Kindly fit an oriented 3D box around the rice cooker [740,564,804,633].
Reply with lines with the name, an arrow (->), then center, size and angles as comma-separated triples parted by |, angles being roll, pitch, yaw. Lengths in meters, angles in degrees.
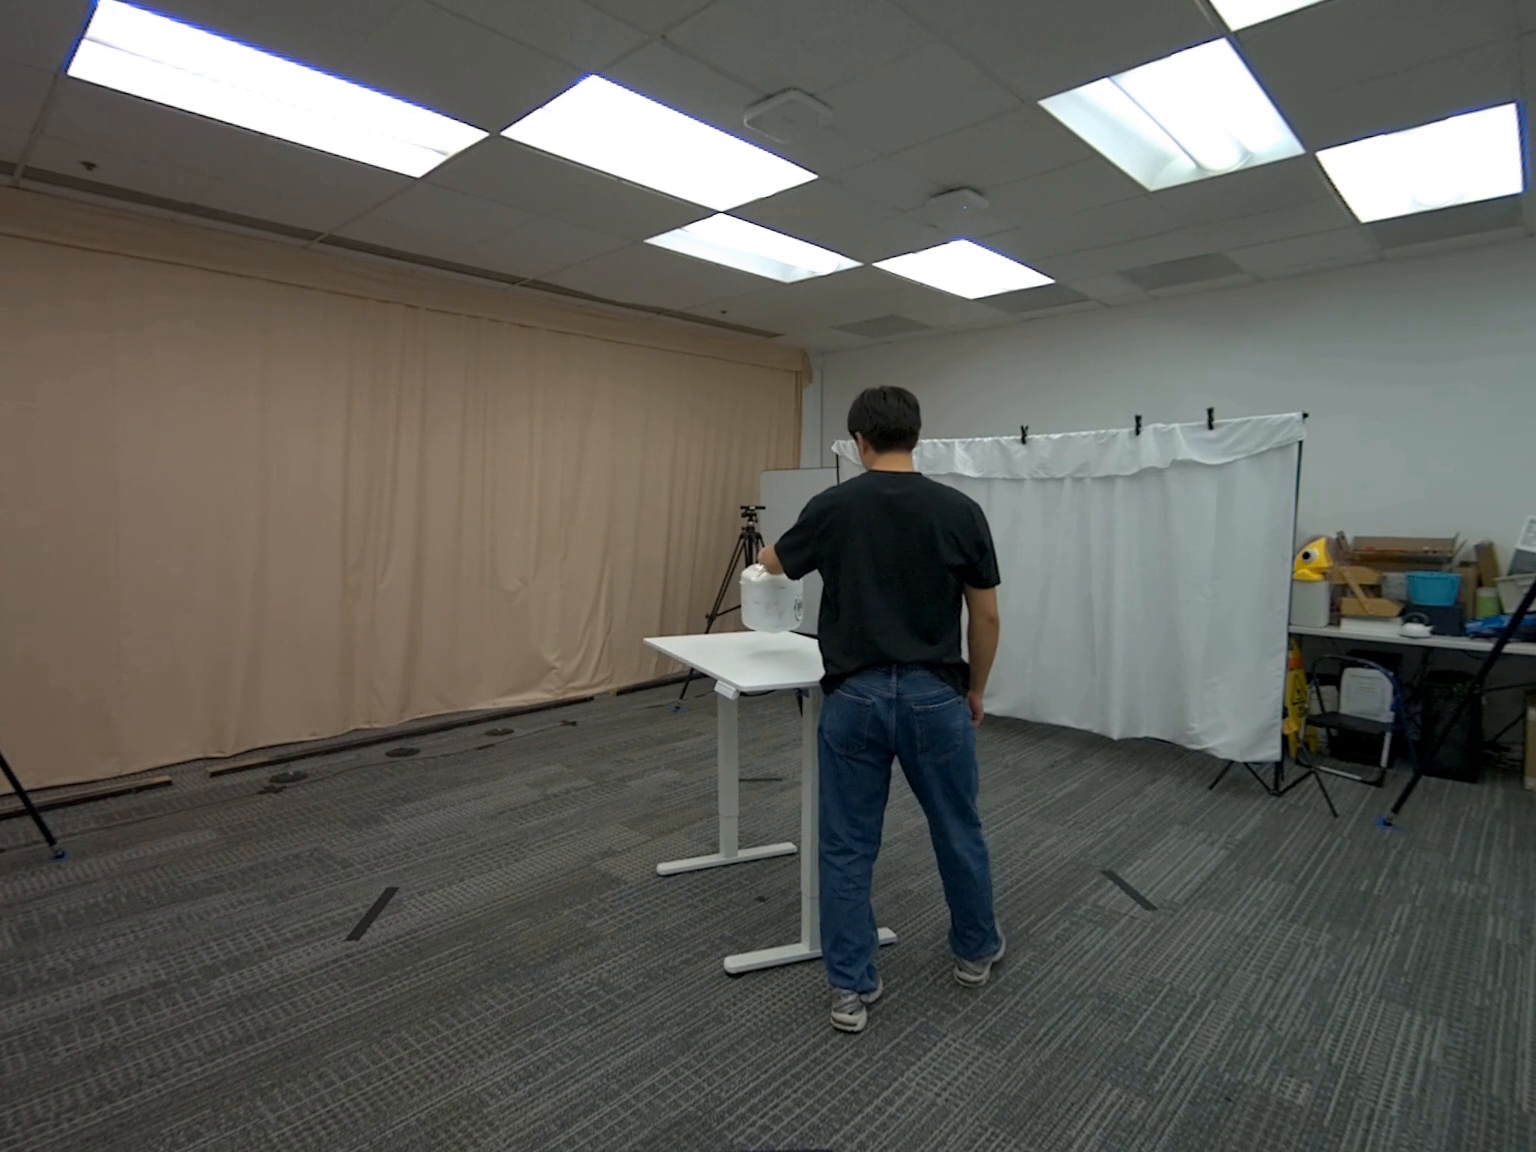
rice cooker -> 0.021, 0.058, 2.877 | 0.224, 0.231, 0.216 | 5, 13, 31
